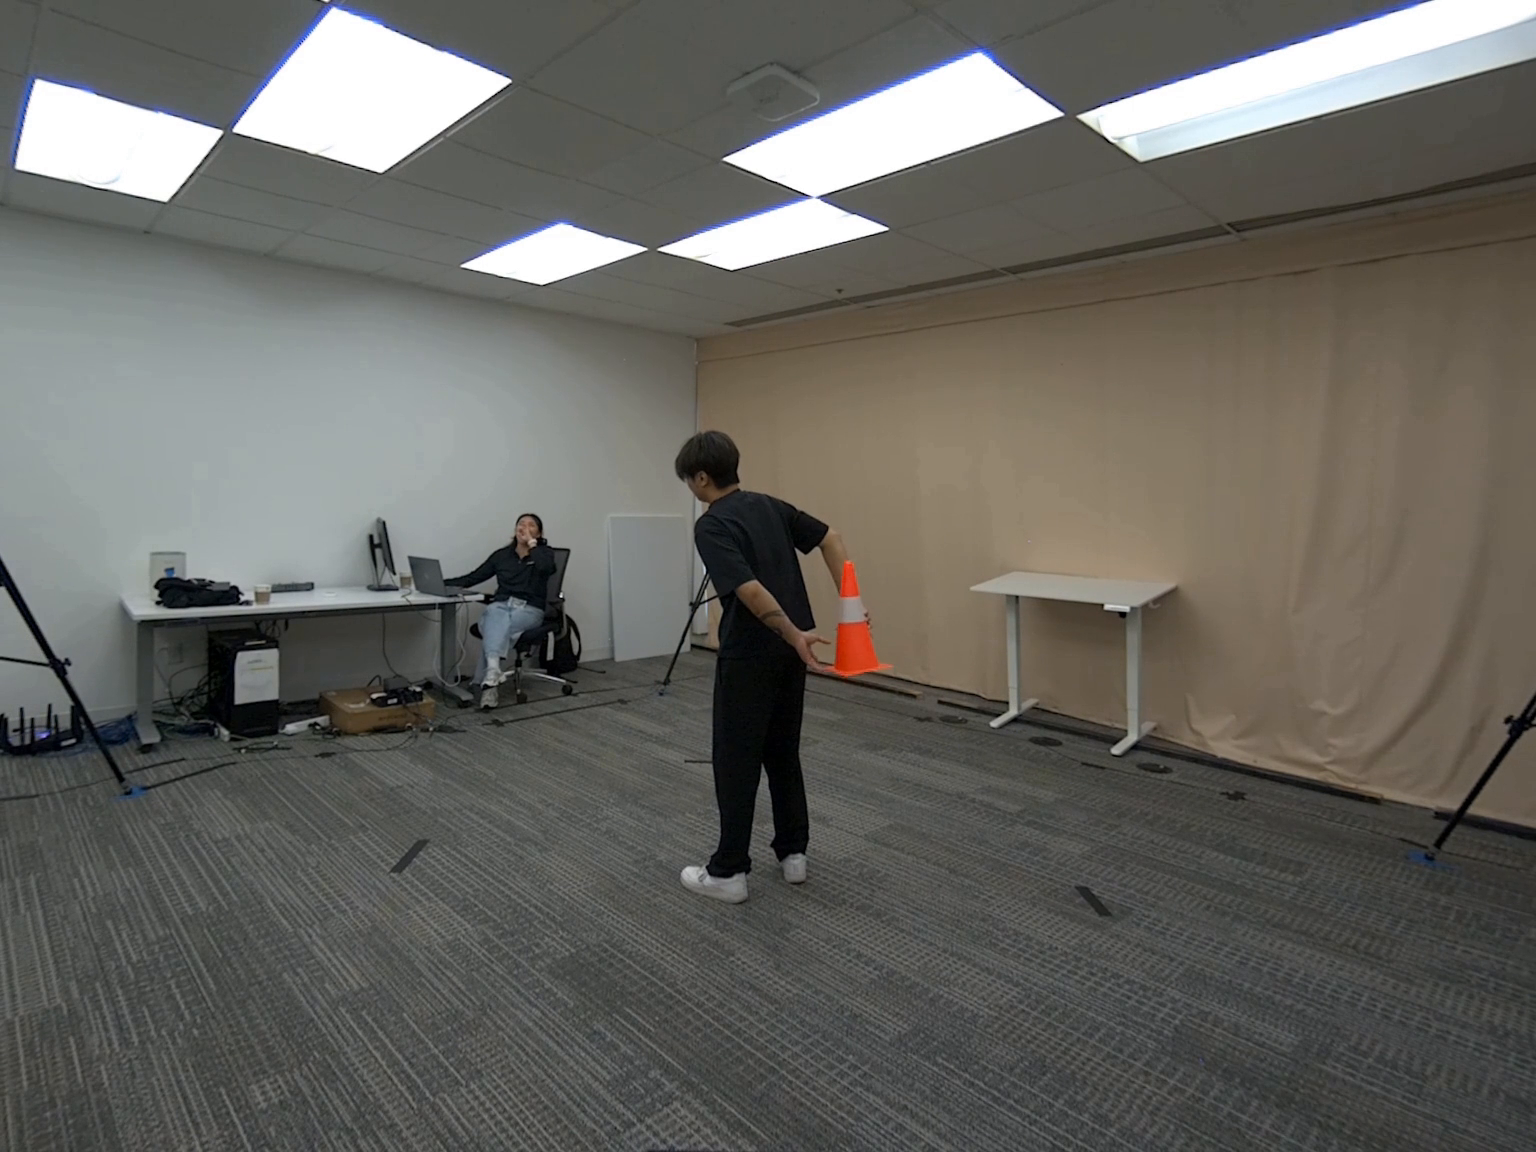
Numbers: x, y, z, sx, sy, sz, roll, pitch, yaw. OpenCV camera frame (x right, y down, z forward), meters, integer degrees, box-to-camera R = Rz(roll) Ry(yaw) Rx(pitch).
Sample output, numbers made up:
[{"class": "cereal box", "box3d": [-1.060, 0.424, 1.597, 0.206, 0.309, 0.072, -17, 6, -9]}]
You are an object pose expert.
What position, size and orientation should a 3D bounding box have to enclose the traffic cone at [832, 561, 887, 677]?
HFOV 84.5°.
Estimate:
[{"class": "traffic cone", "box3d": [0.294, 0.142, 3.008, 0.208, 0.382, 0.201, 1, 5, 35]}]
